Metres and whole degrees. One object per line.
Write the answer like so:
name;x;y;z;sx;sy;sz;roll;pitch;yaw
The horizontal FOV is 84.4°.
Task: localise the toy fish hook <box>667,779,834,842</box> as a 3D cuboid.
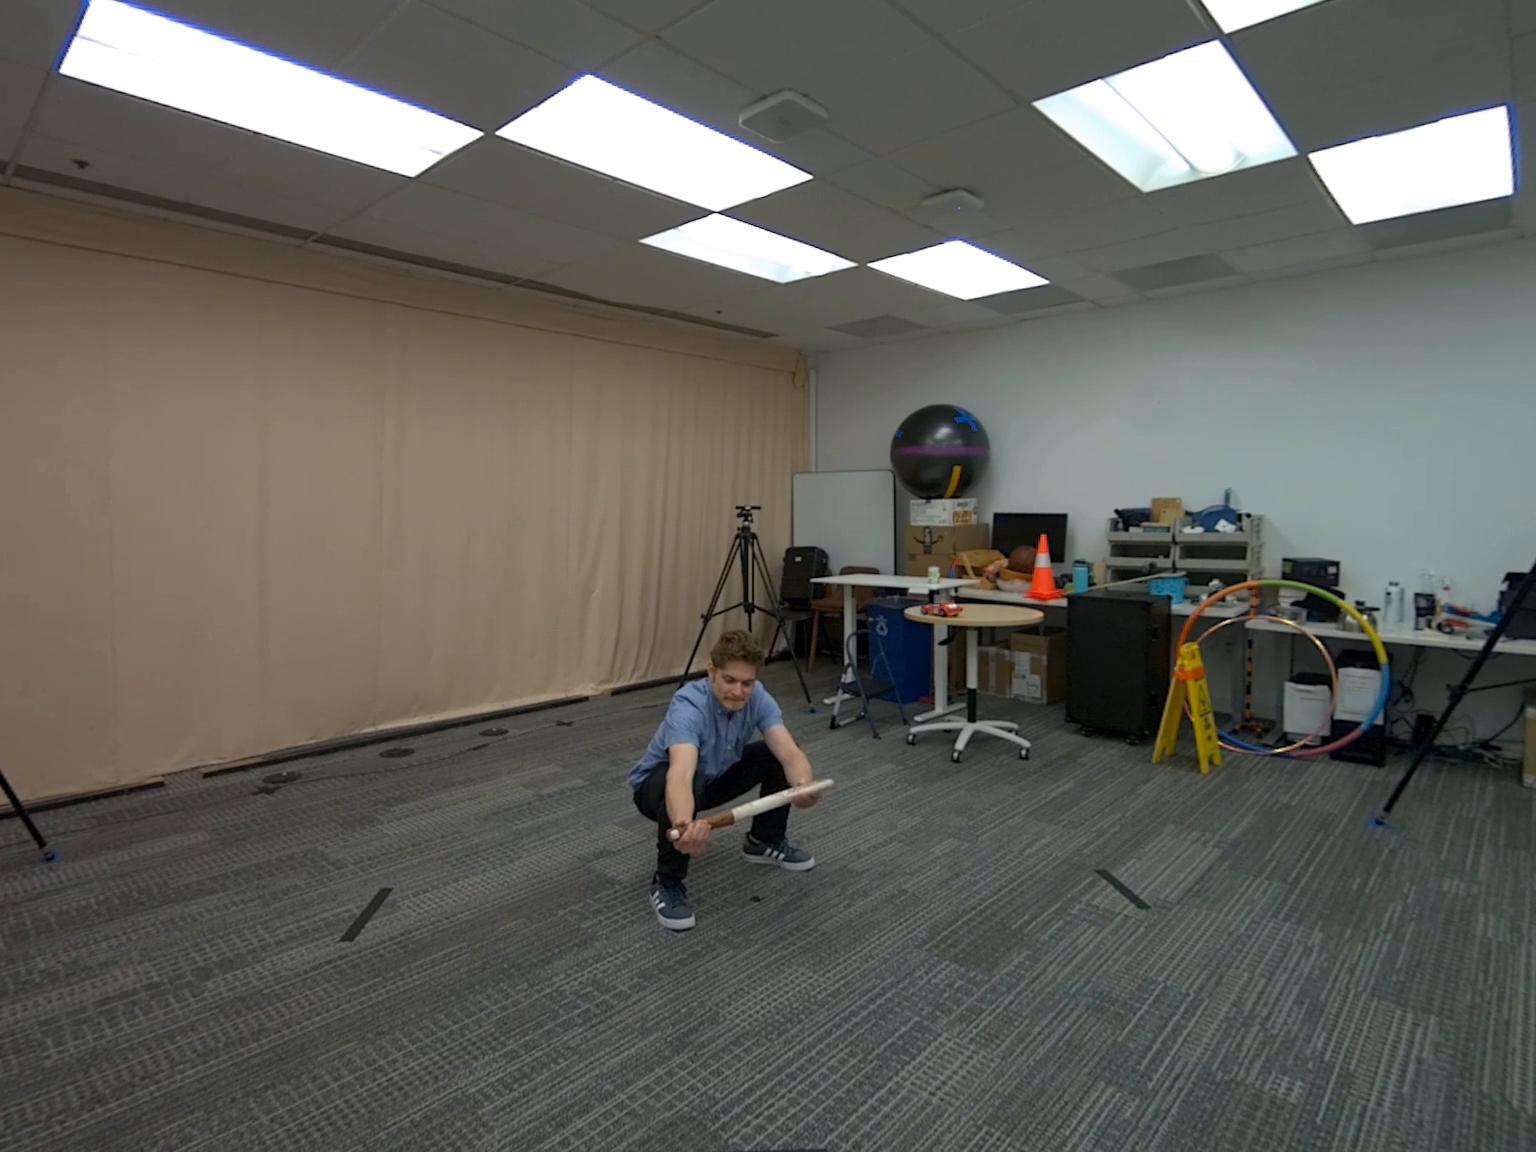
toy fish hook;-0.024;0.660;2.408;0.494;0.049;0.226;-10;-20;-29
